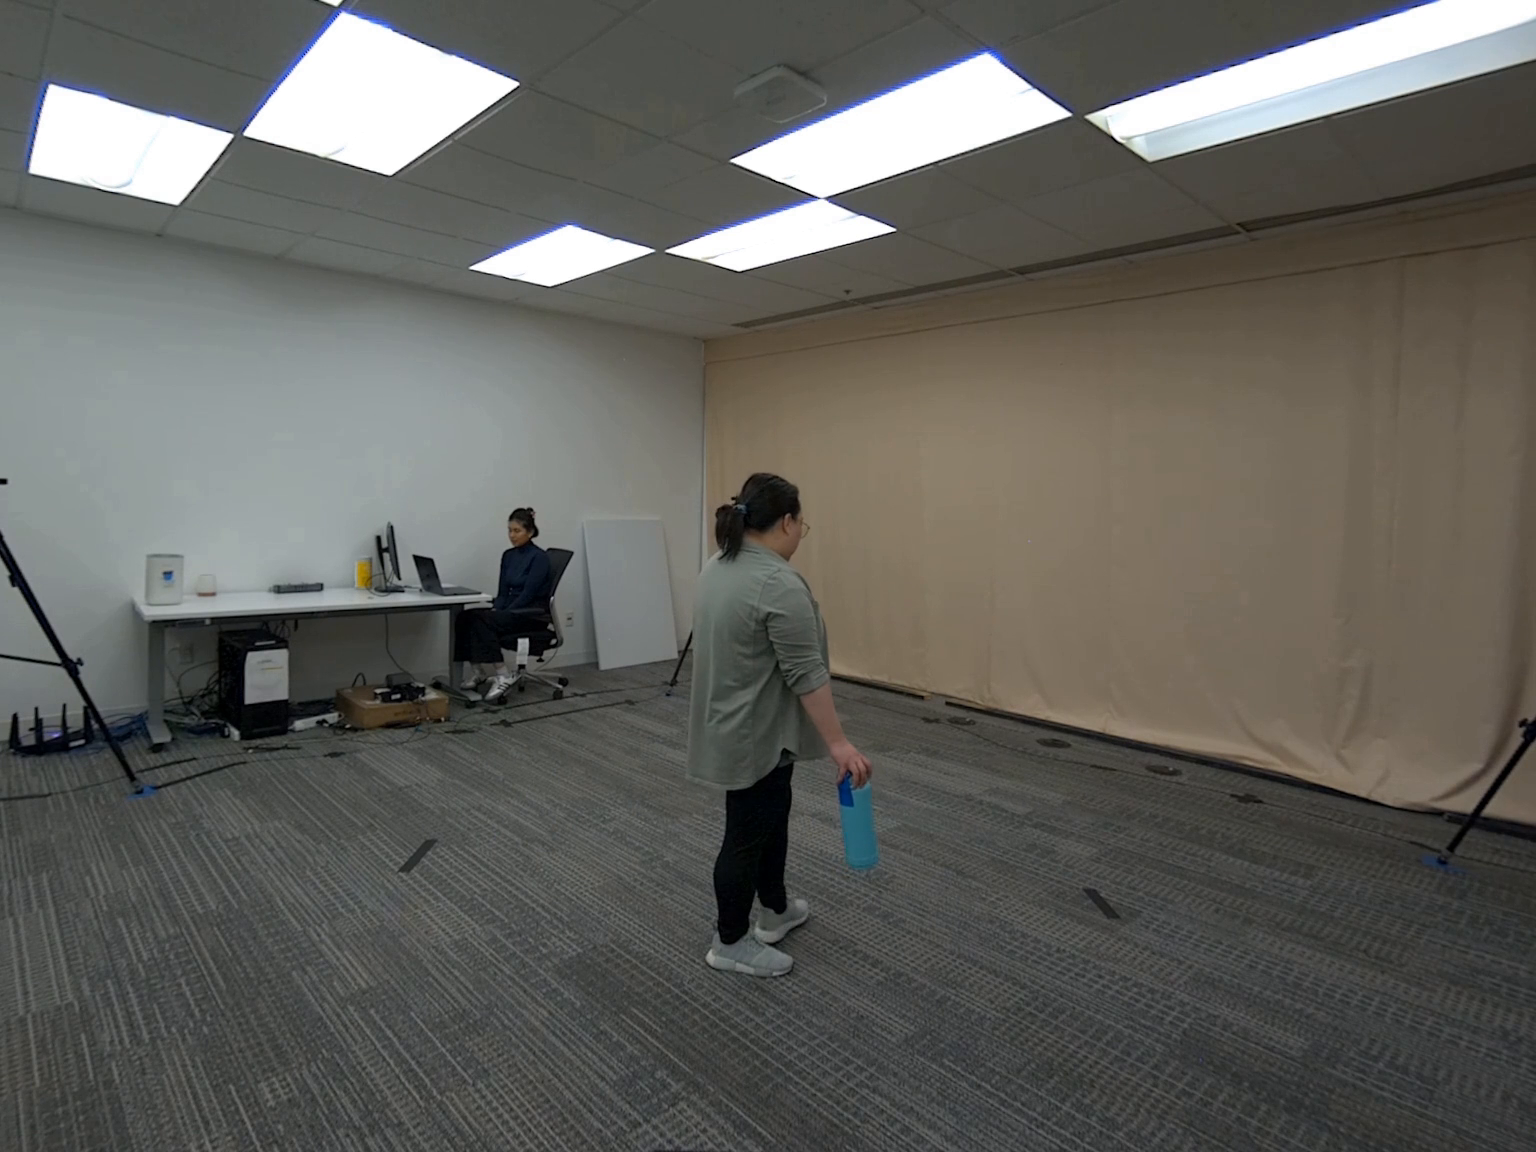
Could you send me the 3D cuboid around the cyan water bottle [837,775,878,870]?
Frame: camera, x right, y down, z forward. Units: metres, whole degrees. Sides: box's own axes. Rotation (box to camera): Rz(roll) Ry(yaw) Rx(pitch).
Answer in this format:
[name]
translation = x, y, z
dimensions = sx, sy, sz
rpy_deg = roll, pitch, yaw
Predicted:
[cyan water bottle]
translation = 0.231, 0.646, 2.284
dimensions = 0.092, 0.282, 0.092
rpy_deg = -4, 4, -1
